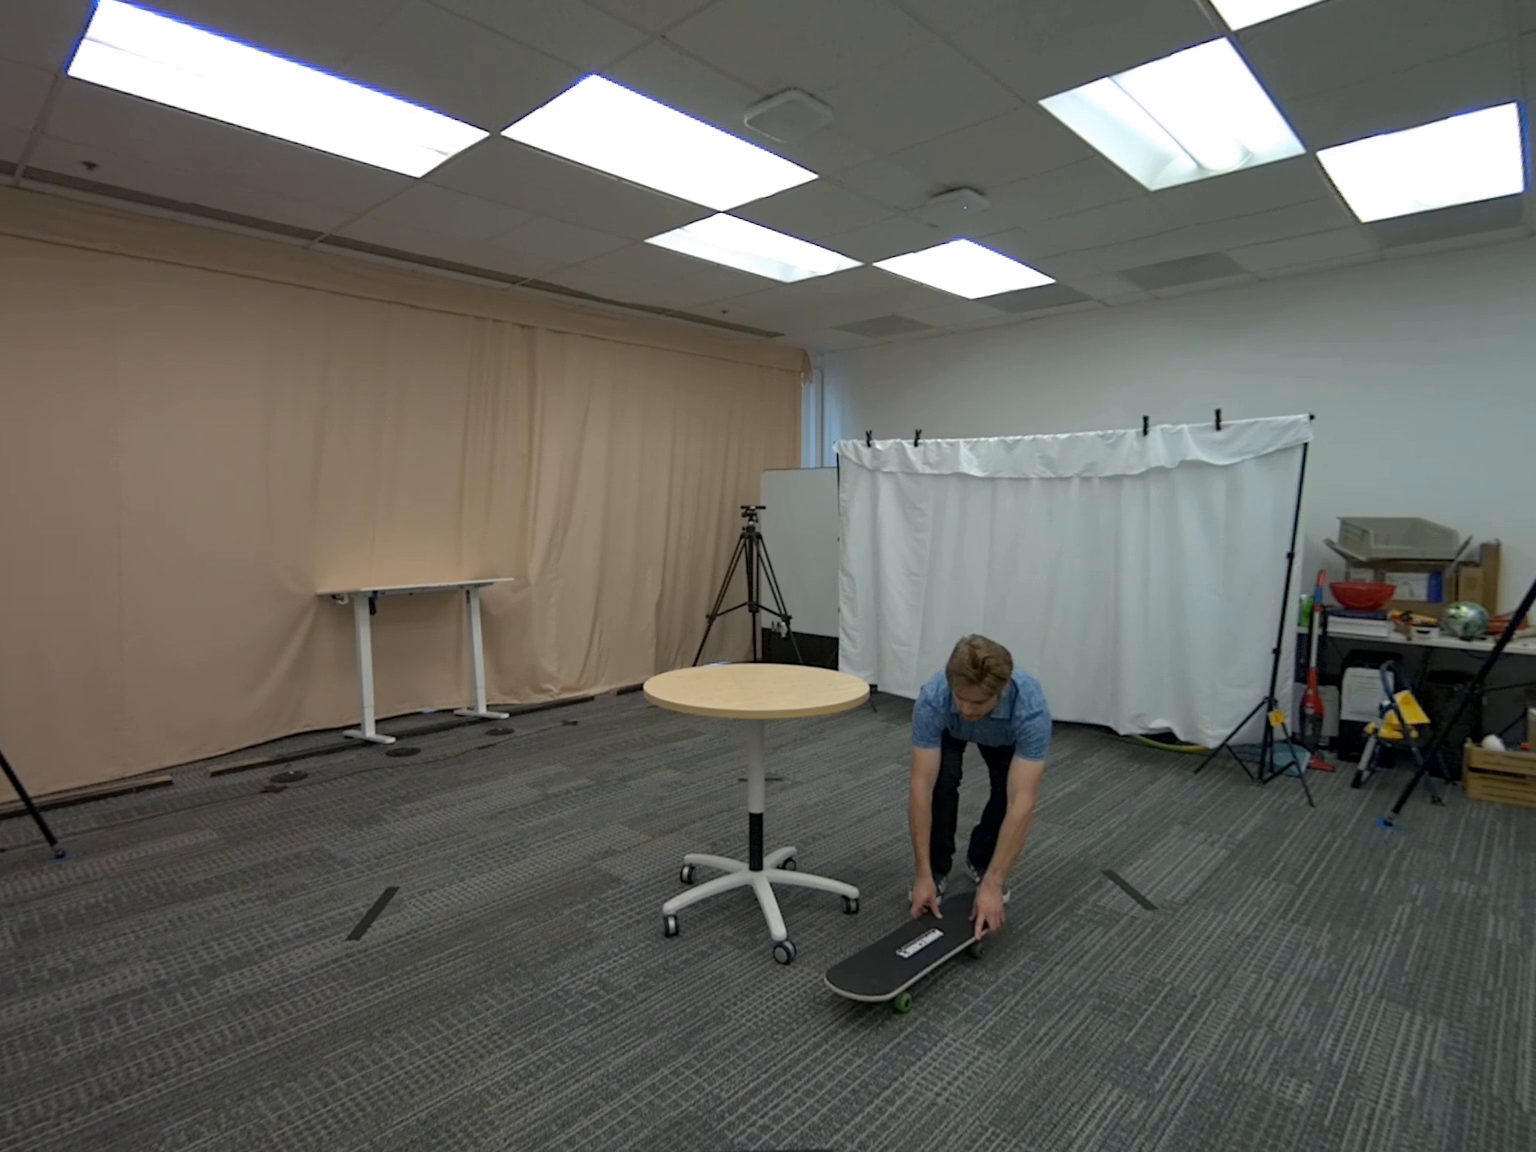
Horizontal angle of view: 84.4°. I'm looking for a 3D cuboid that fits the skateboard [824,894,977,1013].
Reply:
[{"bbox_3d":[0.453,1.128,2.503,0.761,0.110,0.200,-5,6,-45],"label":"skateboard"}]
